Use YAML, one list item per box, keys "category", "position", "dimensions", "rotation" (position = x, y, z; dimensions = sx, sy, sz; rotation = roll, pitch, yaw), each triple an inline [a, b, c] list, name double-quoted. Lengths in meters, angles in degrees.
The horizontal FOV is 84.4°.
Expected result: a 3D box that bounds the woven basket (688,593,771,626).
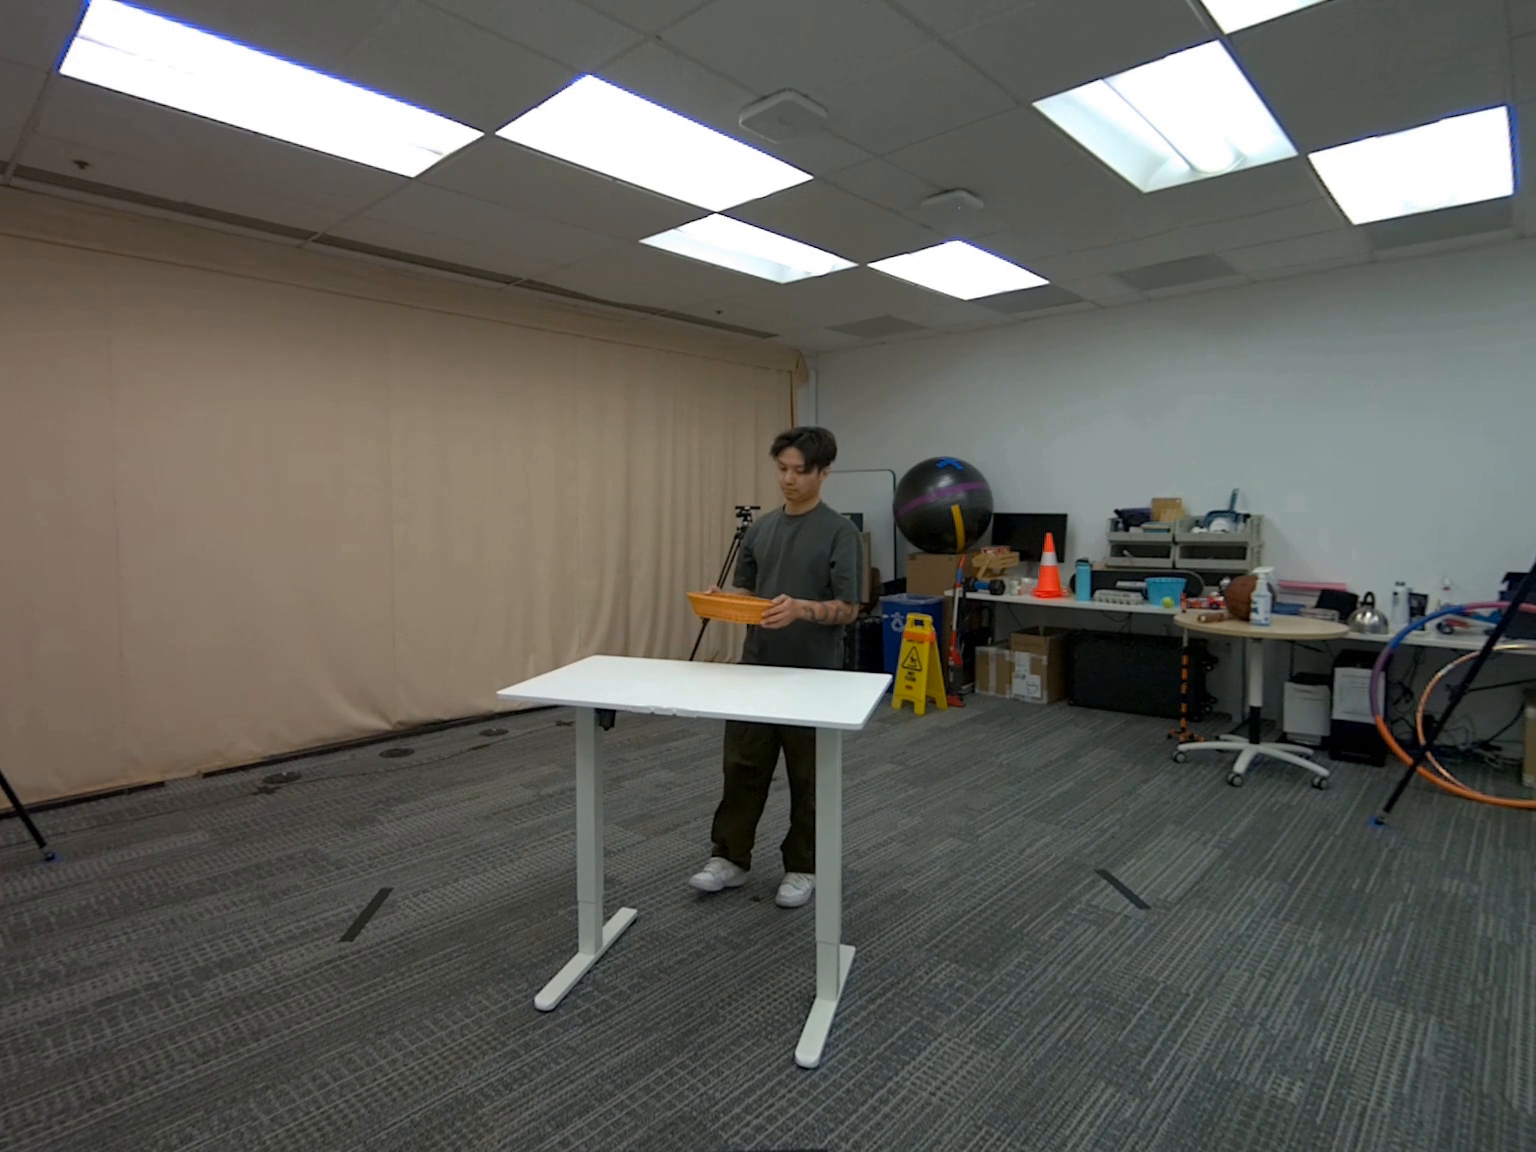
- category: "woven basket"
  position: [-0.097, 0.115, 2.834]
  dimensions: [0.362, 0.073, 0.244]
  rotation: [7, 4, 36]
